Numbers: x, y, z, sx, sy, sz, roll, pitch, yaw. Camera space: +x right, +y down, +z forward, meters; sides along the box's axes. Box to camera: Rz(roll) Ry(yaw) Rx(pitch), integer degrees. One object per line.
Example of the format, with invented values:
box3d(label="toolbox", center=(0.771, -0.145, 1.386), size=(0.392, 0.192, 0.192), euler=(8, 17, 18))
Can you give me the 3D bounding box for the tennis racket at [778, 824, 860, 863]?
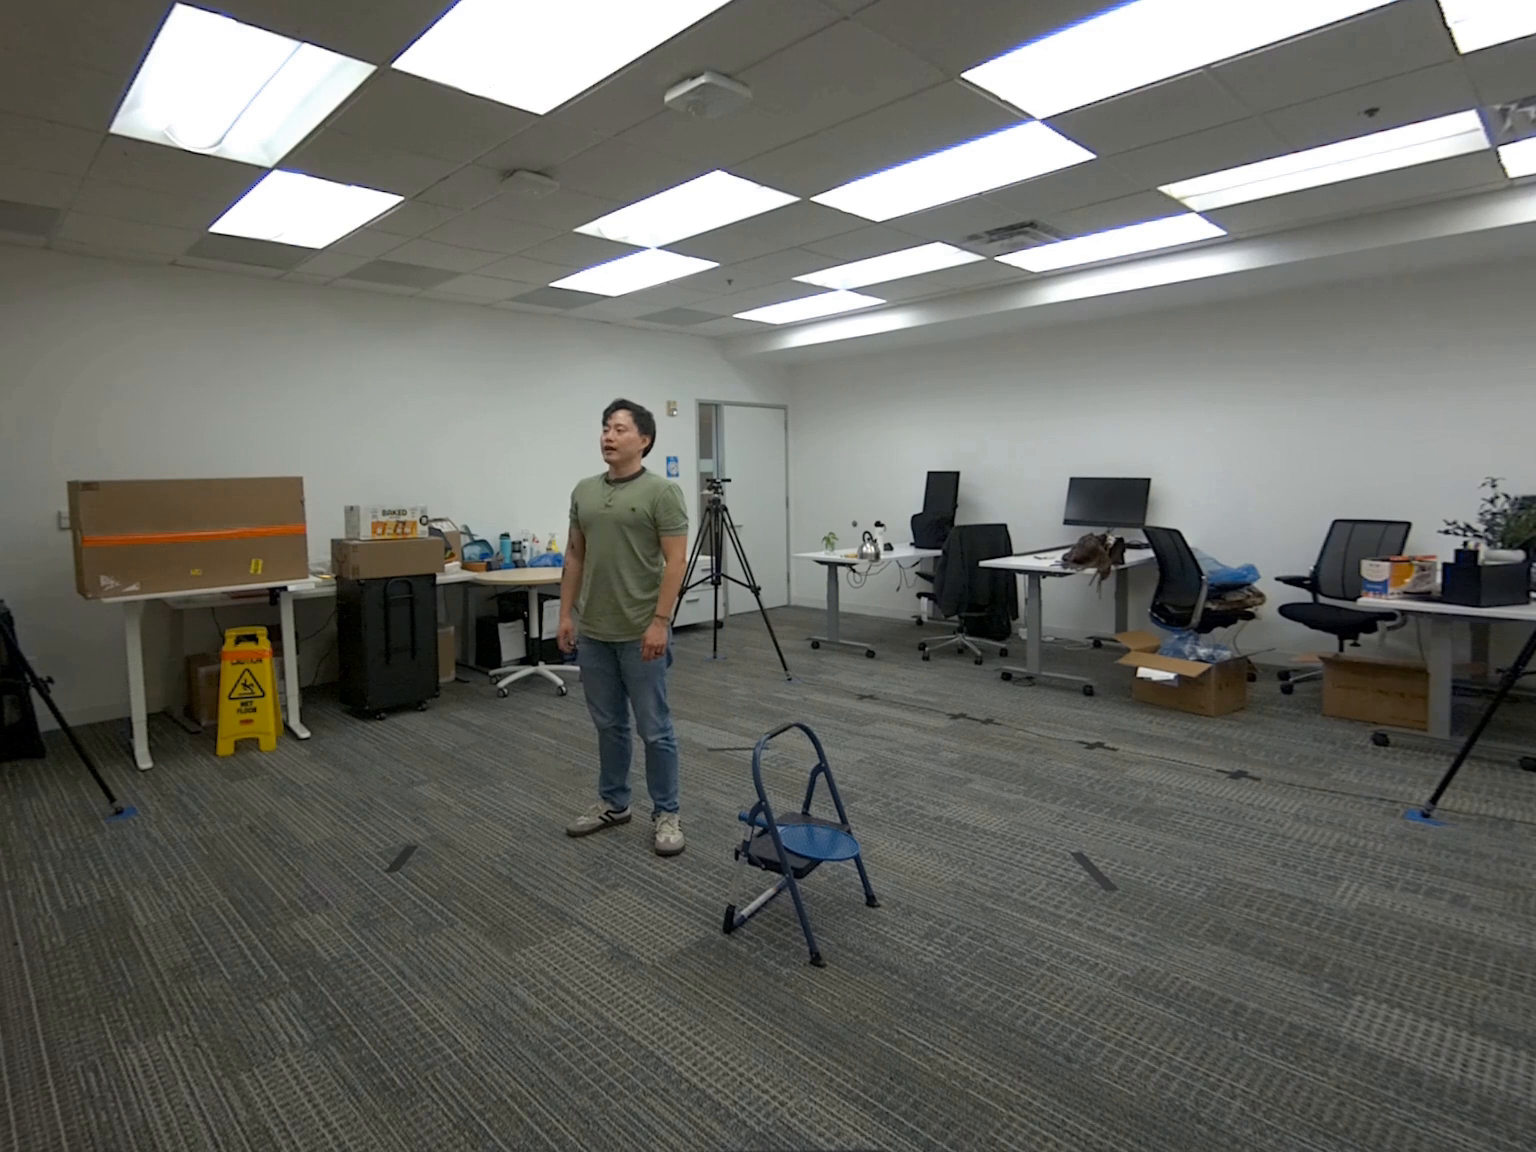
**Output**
box3d(label="tennis racket", center=(0.097, 0.819, 2.694), size=(0.446, 0.031, 0.209), euler=(6, 10, 33))
